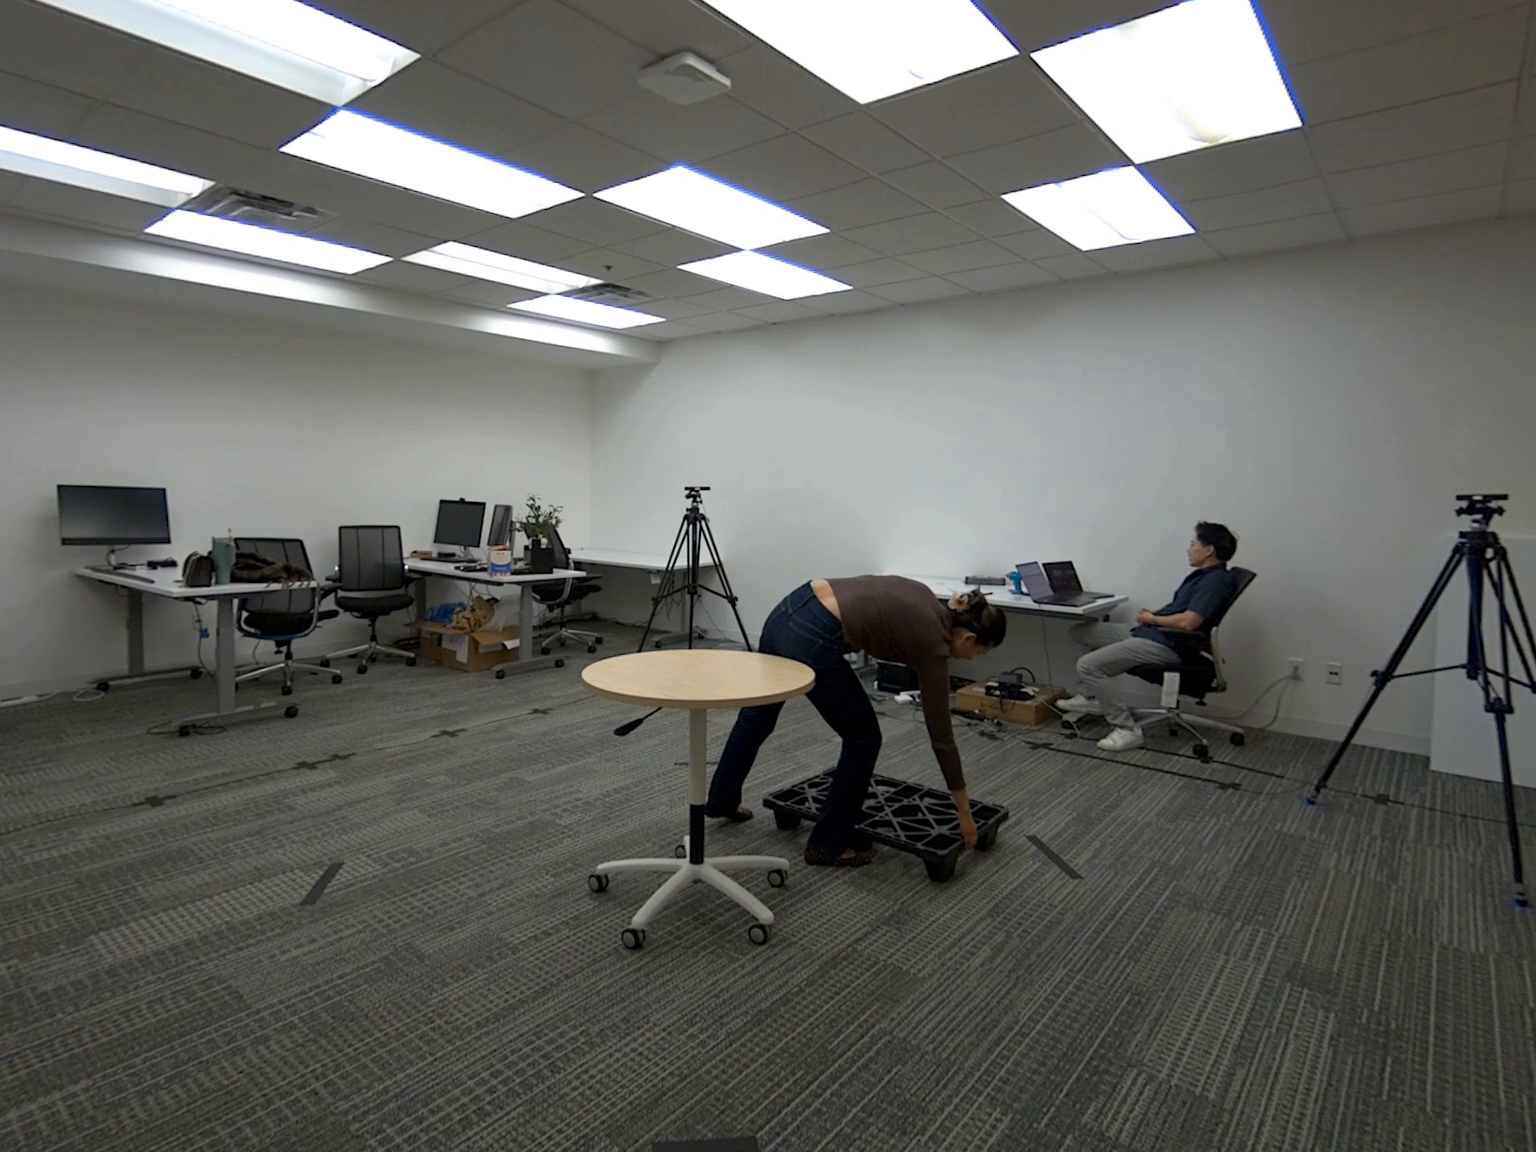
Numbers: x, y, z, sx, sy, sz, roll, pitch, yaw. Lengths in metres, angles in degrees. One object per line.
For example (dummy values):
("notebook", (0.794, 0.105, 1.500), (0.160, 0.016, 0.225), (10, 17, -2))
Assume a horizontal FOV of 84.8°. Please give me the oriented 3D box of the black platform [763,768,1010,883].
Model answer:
("black platform", (0.468, 0.982, 3.429), (0.833, 0.143, 0.588), (6, 8, 39))
